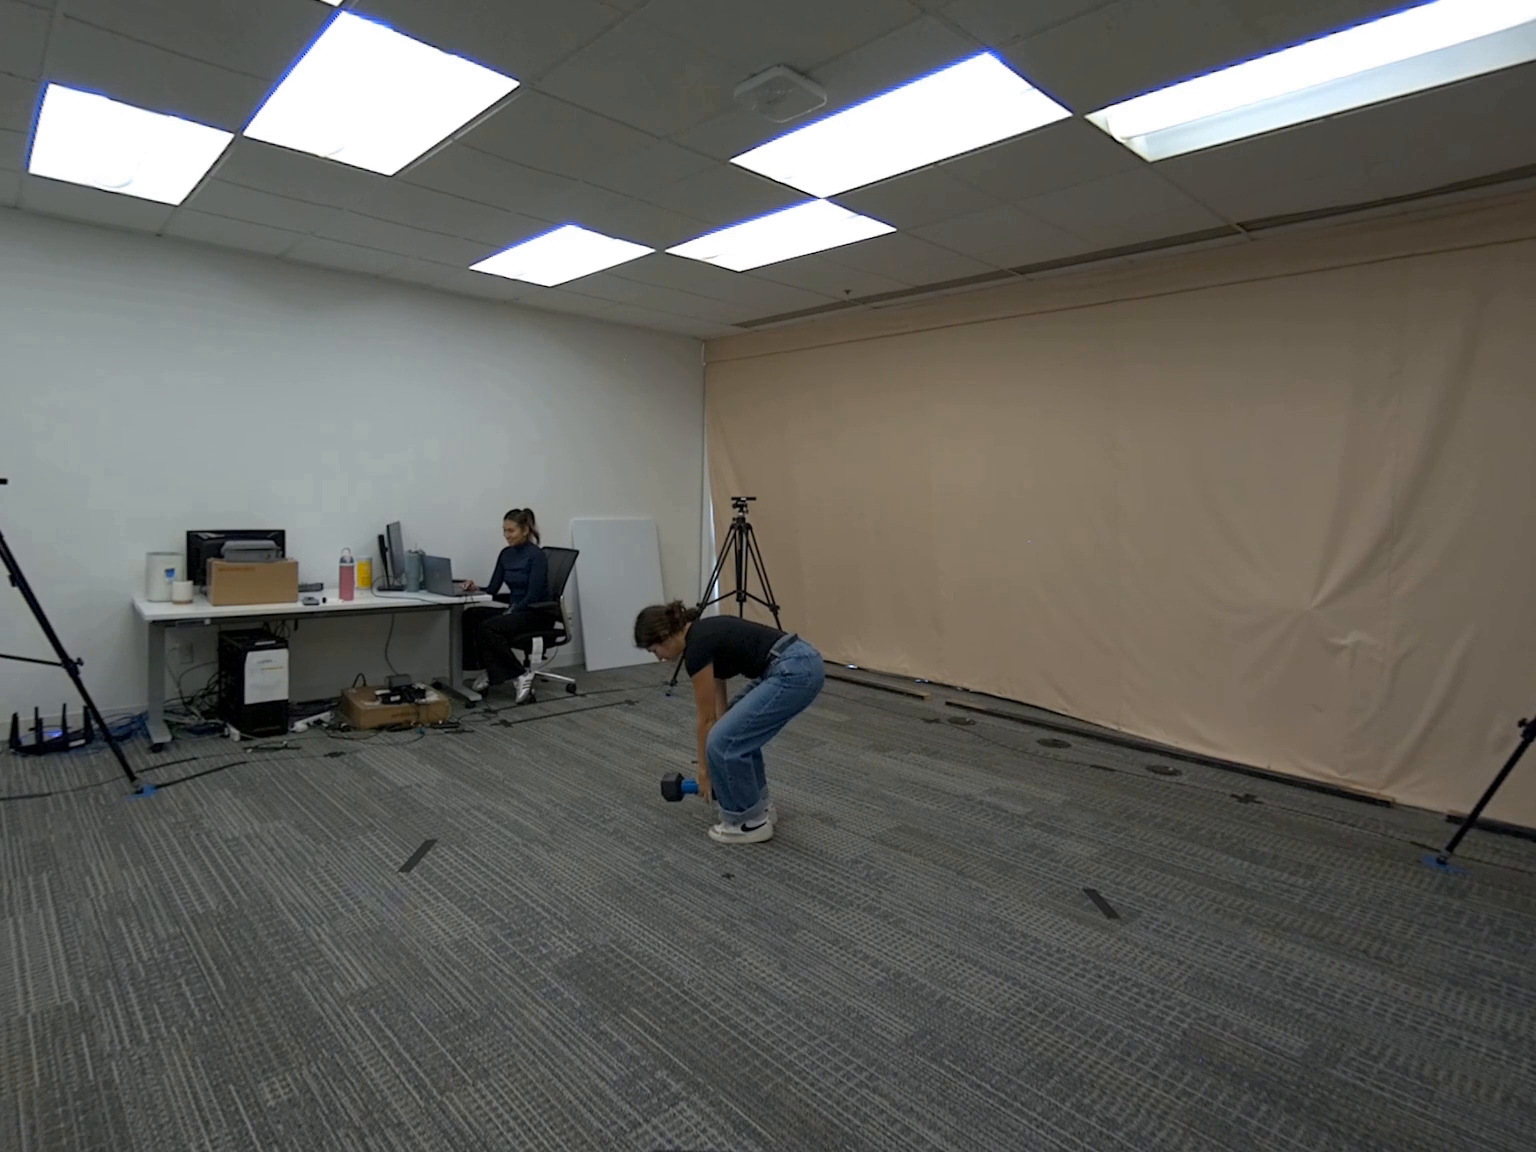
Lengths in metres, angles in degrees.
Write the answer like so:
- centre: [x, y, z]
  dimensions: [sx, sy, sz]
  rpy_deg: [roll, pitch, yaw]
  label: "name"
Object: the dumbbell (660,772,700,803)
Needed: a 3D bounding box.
- centre: [-0.318, 0.886, 3.543]
  dimensions: [0.297, 0.124, 0.107]
  rpy_deg: [-2, -8, 15]
  label: "dumbbell"
